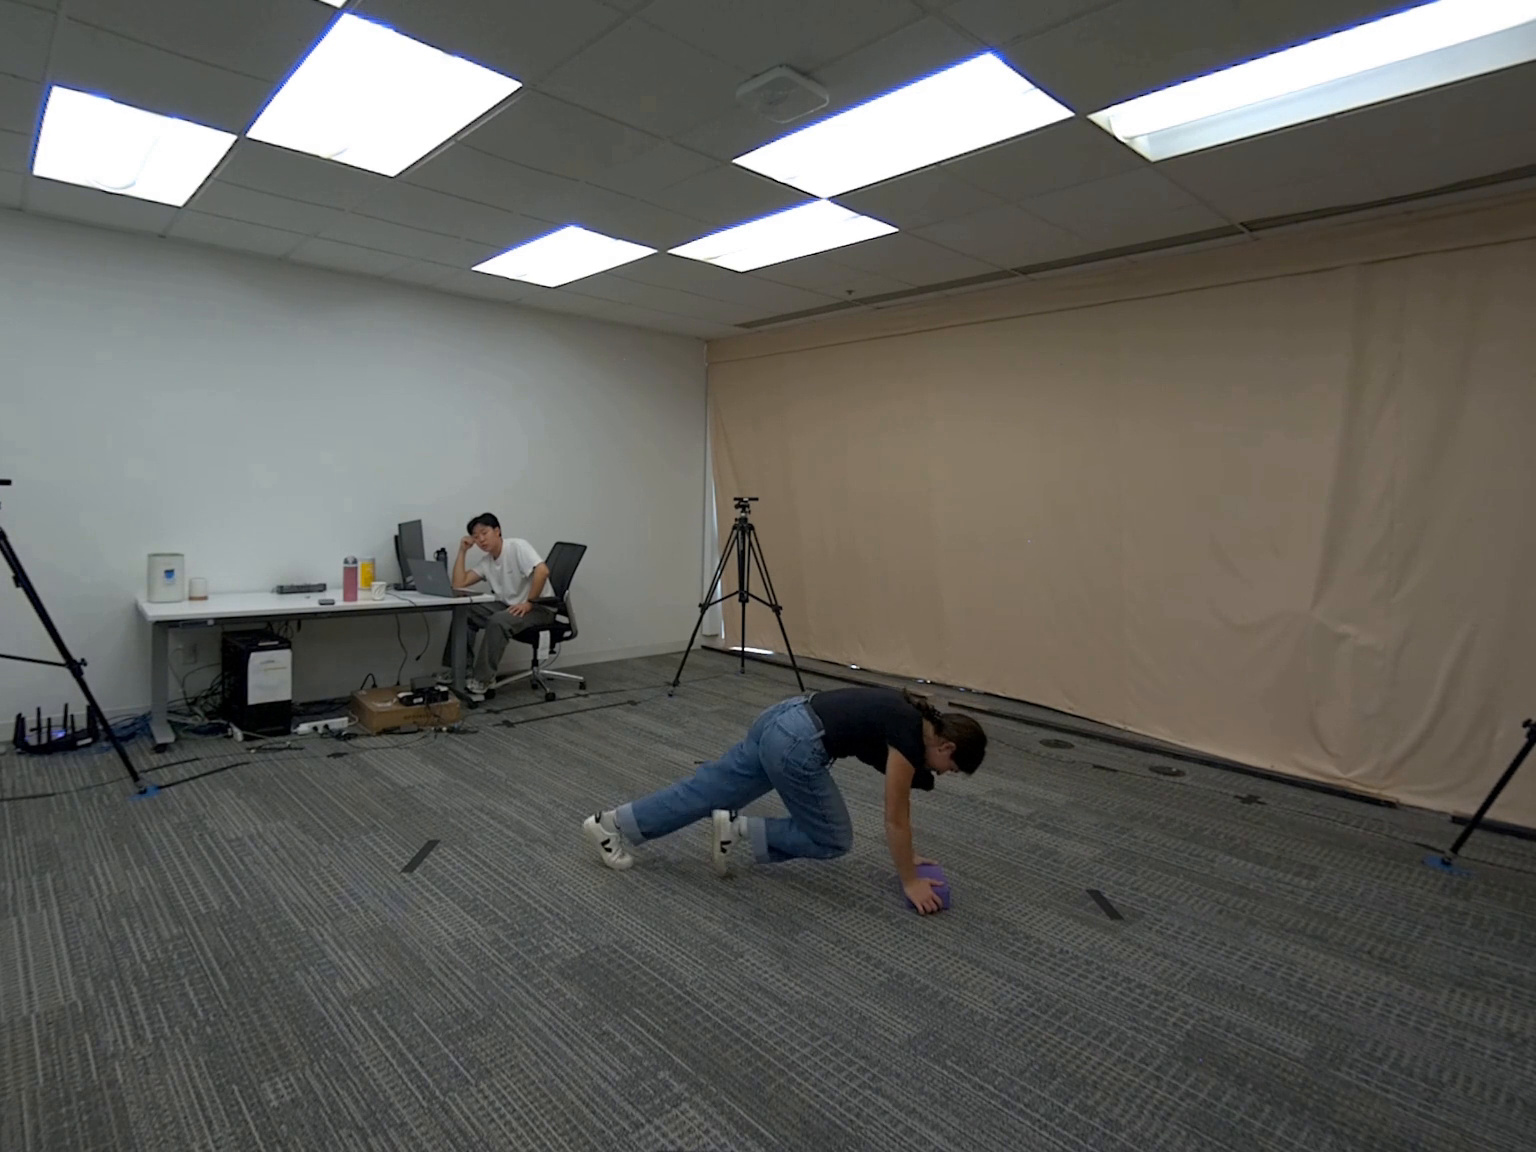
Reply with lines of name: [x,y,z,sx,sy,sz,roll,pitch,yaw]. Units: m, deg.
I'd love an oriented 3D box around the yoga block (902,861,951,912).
yoga block: [0.547,1.097,2.986,0.149,0.076,0.229,0,4,2]
